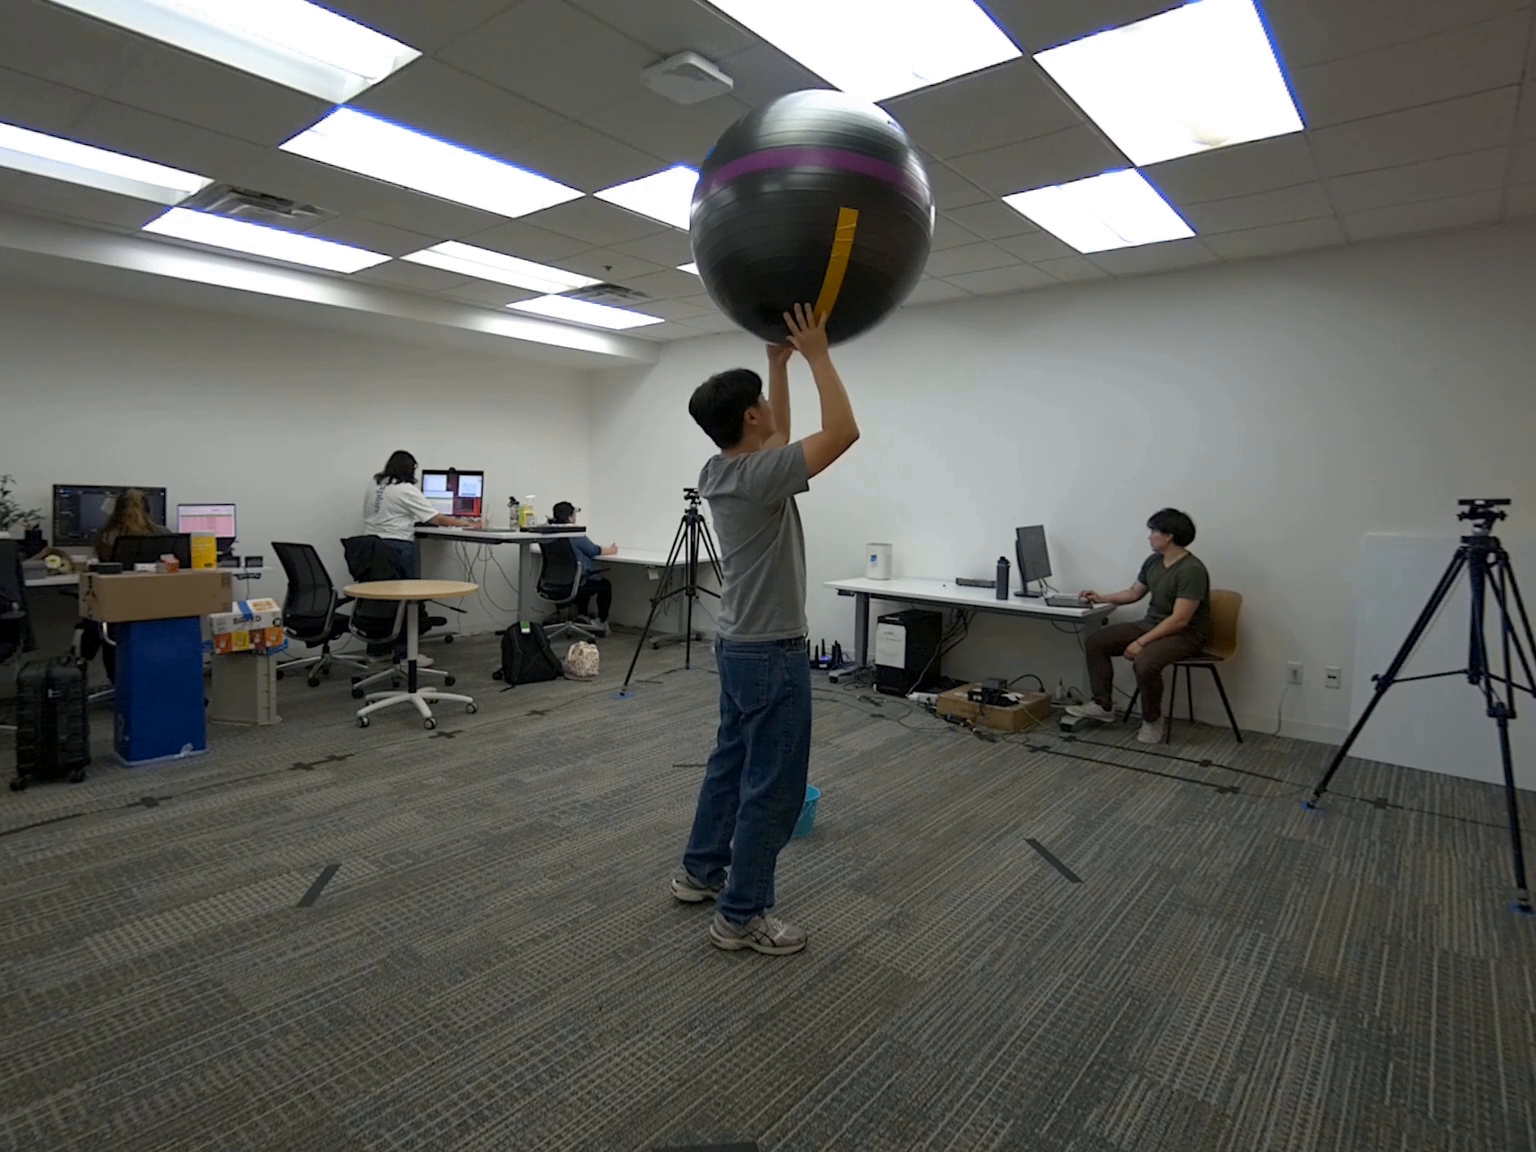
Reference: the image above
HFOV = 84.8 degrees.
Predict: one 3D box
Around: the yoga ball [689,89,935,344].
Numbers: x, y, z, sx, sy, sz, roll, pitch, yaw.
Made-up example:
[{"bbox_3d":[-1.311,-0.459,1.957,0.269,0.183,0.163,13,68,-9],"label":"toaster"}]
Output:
[{"bbox_3d":[0.116,-1.086,2.650,0.757,0.756,0.761,1,4,-2],"label":"yoga ball"}]
